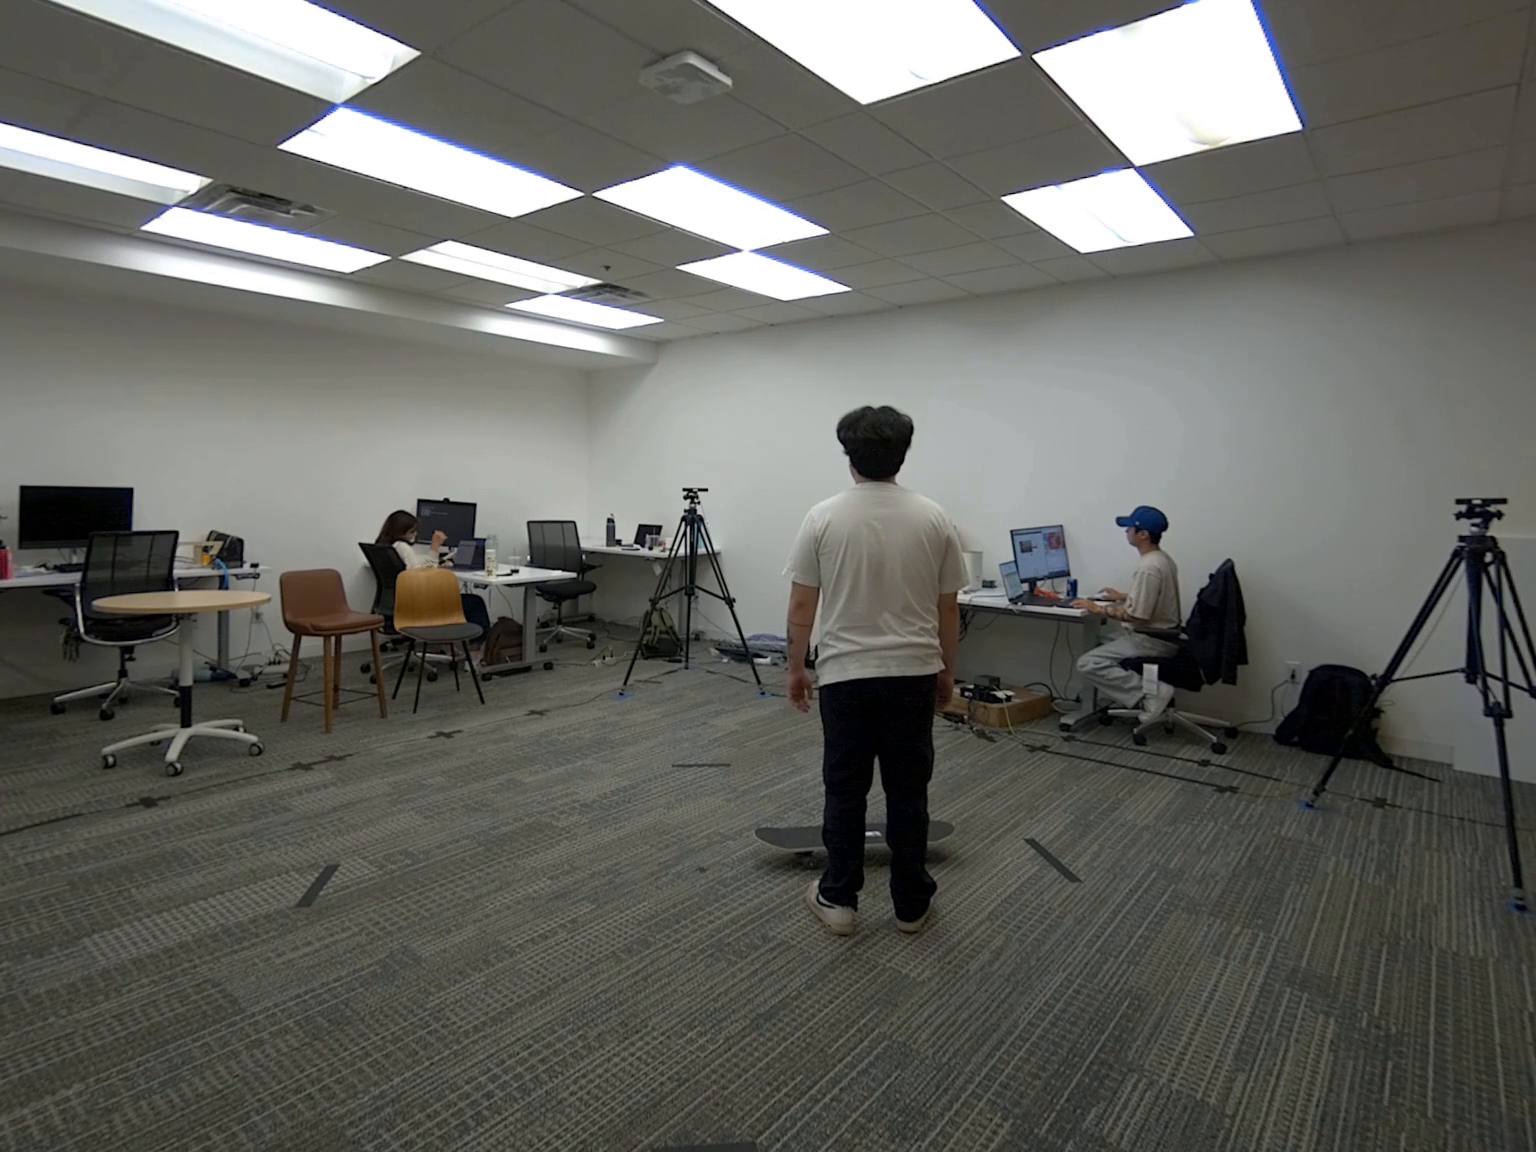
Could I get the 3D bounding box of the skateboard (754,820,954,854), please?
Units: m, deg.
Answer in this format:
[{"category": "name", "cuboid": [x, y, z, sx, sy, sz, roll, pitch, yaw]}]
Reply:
[{"category": "skateboard", "cuboid": [0.319, 1.008, 3.235, 0.777, 0.110, 0.196, 0, 4, -10]}]
